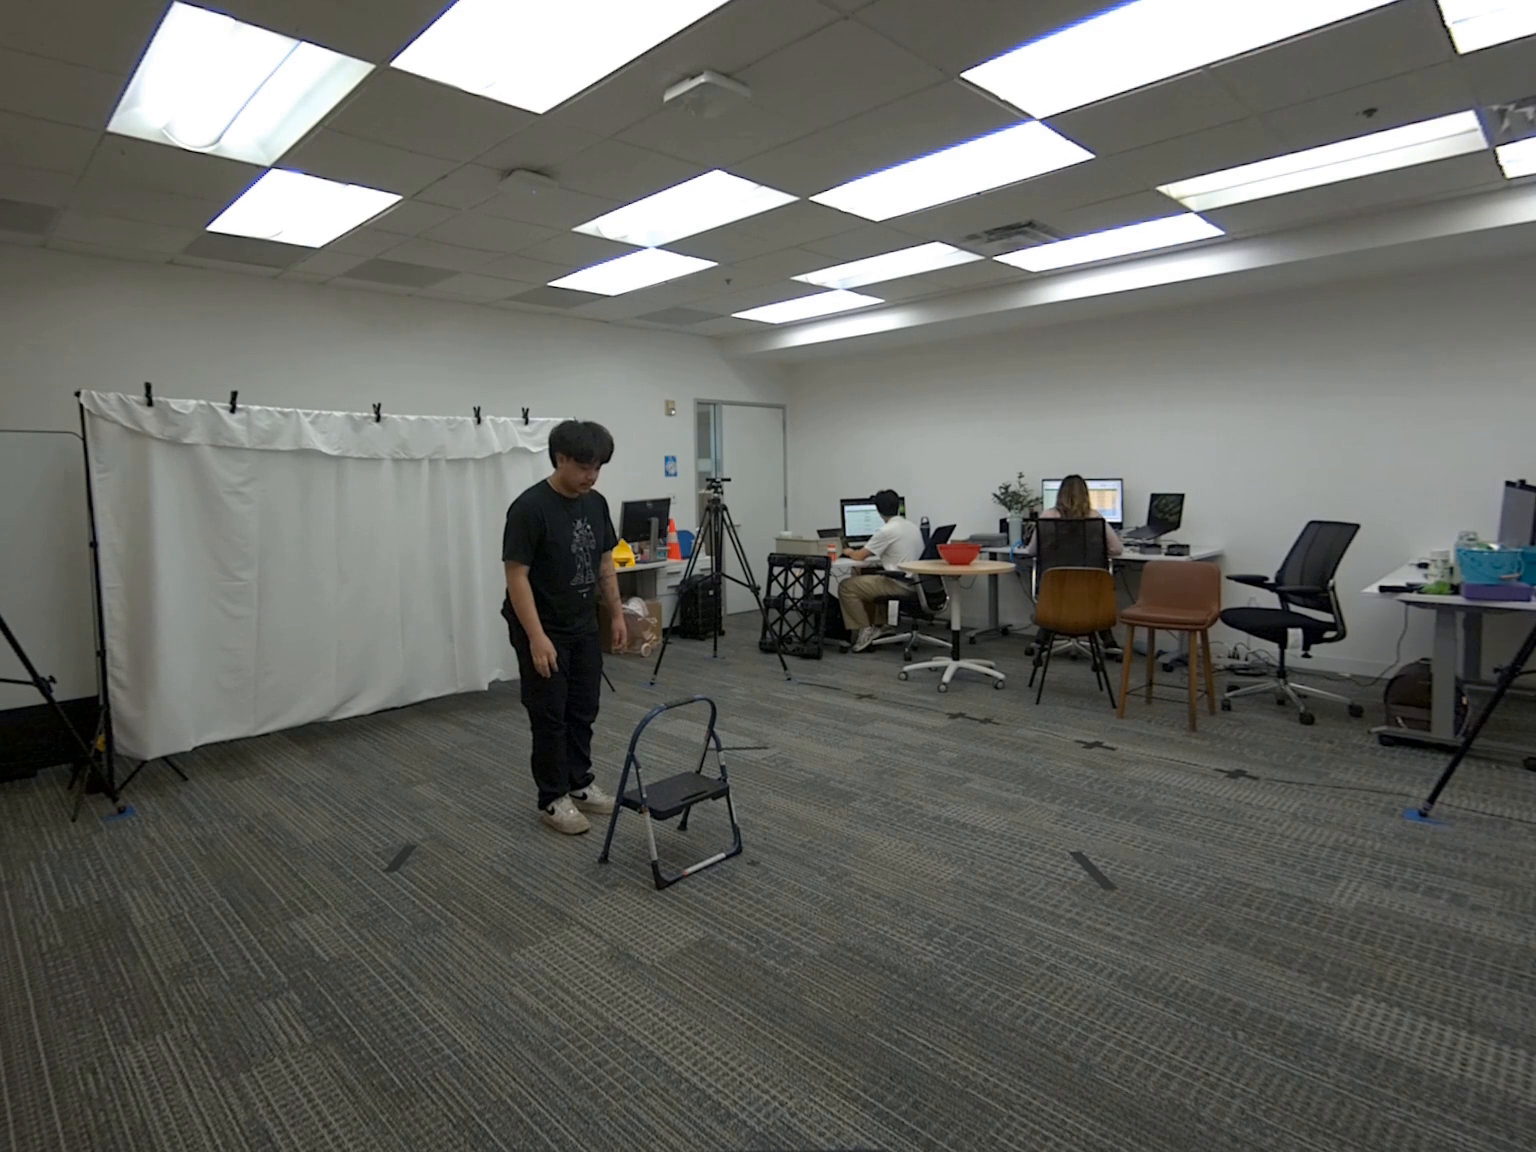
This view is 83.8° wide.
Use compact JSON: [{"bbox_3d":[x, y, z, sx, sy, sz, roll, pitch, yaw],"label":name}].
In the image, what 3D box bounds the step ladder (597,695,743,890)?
[{"bbox_3d":[-0.362,0.739,3.147,0.360,0.604,0.419,2,6,43],"label":"step ladder"}]
